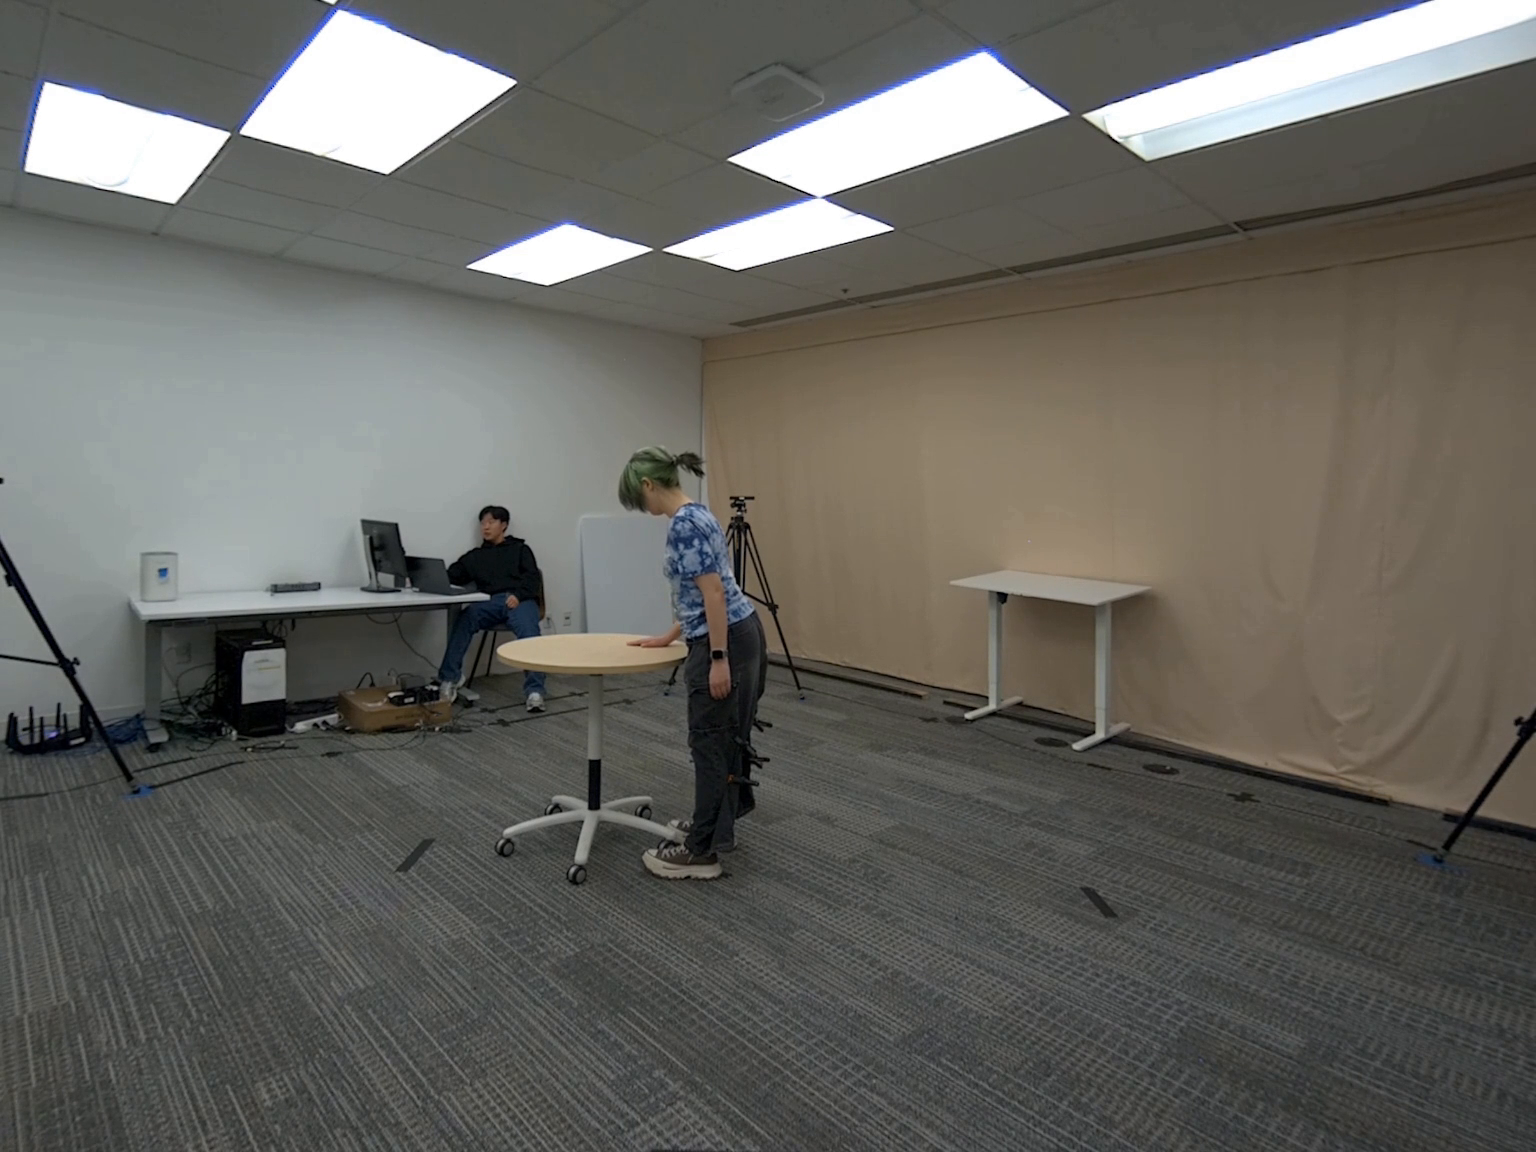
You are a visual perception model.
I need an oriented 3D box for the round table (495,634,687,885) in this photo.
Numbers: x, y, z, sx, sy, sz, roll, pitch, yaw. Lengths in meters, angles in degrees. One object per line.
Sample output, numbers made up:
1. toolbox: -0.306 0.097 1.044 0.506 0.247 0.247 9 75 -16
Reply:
1. round table: -0.679 0.674 3.351 0.784 0.784 0.788 1 4 -1
